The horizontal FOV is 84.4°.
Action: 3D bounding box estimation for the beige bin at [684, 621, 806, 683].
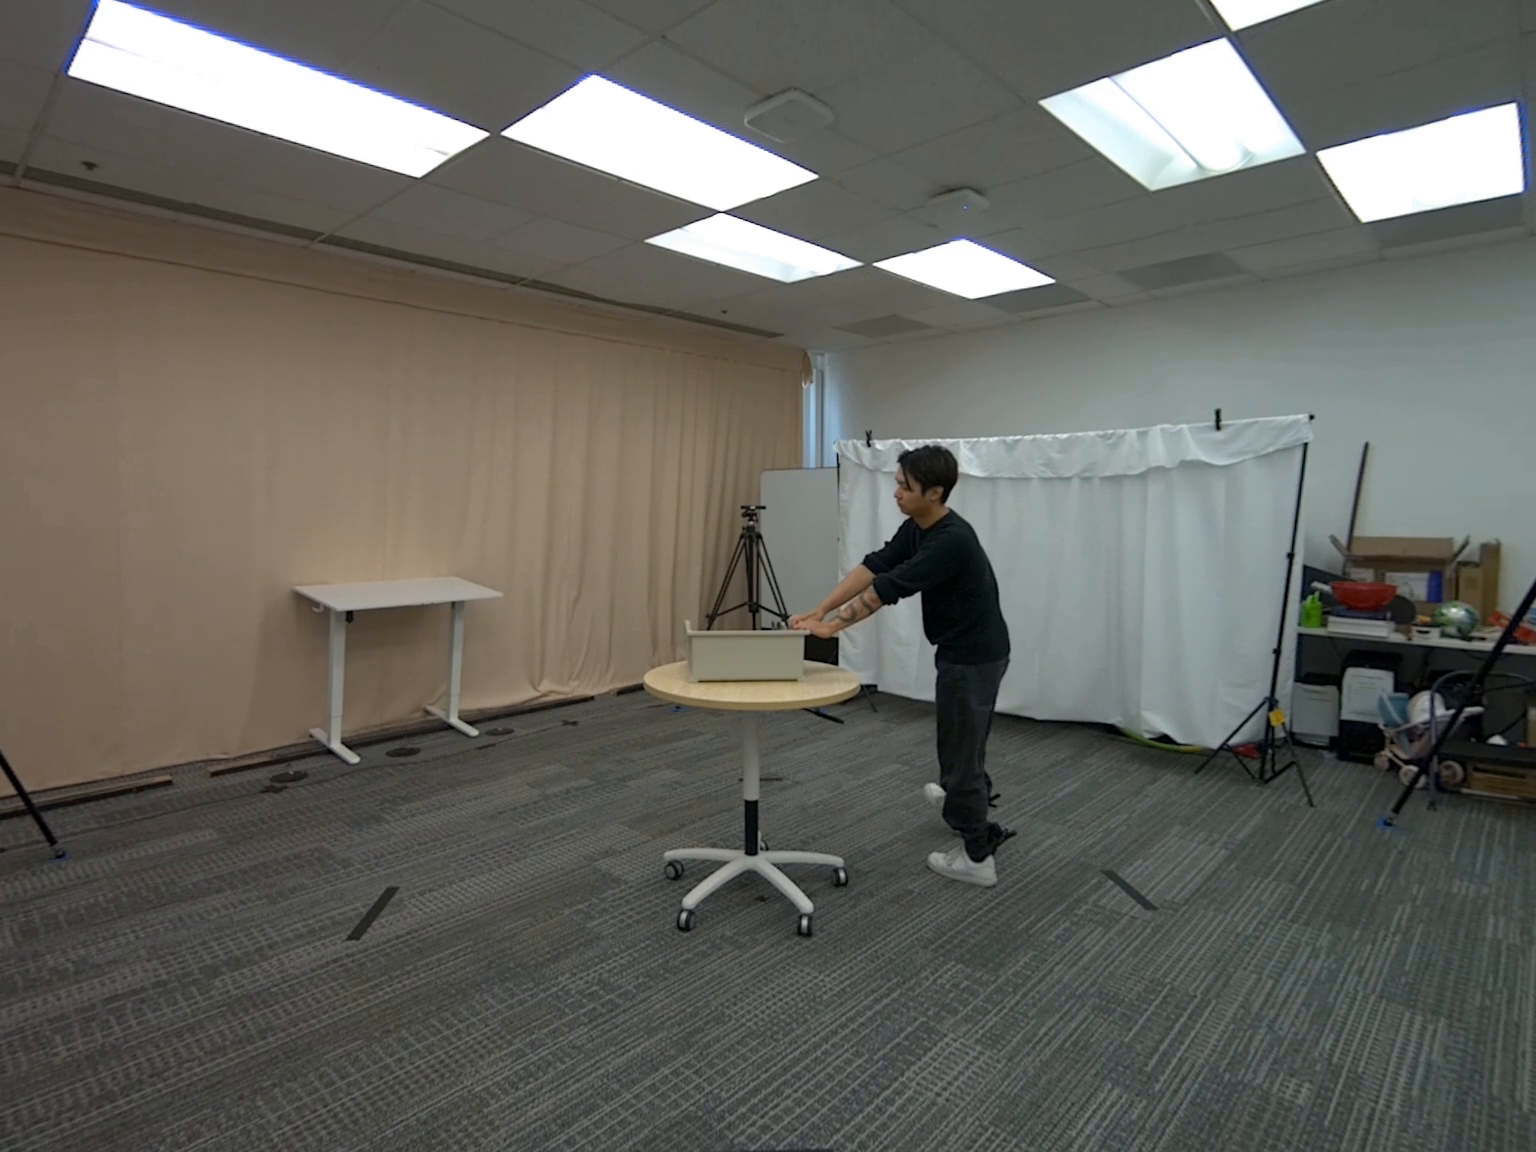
[{"bbox_3d":[-0.089,0.261,3.085,0.420,0.188,0.380,0,6,-5],"label":"beige bin"}]
